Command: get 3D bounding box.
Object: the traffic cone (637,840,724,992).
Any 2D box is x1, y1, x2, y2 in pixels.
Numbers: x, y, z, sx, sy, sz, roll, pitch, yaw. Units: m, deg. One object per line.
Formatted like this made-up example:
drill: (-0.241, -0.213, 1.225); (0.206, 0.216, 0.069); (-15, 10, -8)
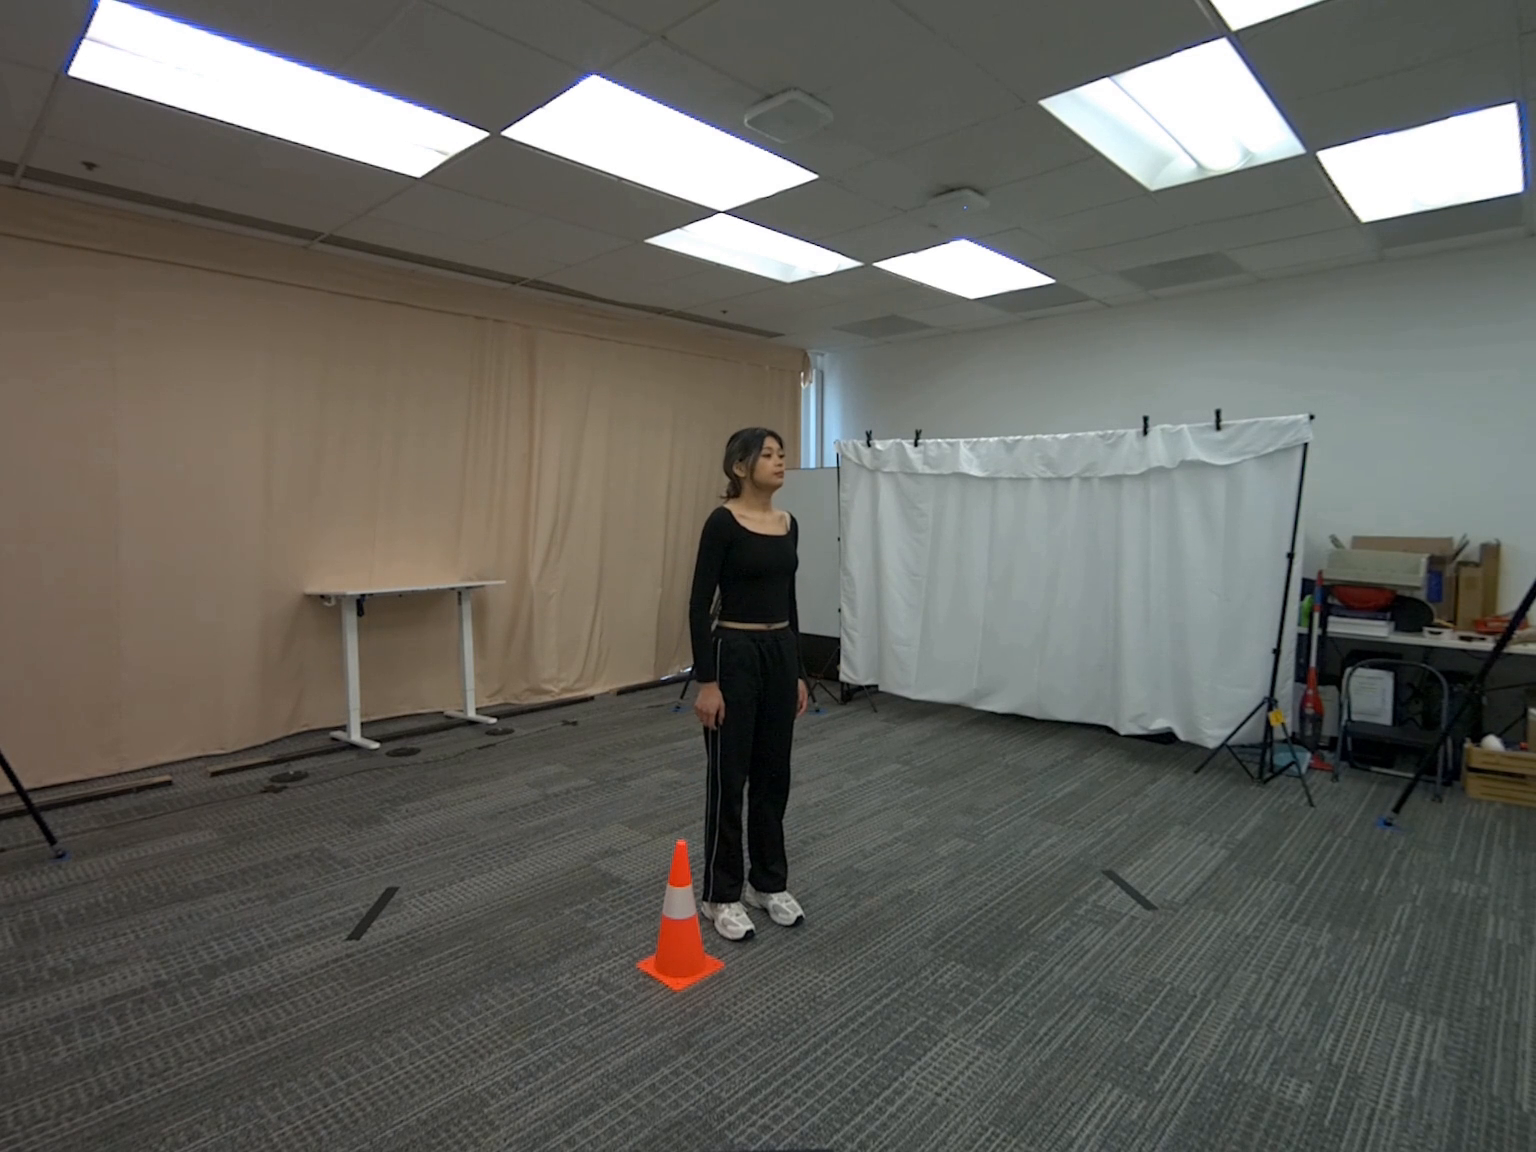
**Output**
traffic cone: (-0.263, 0.995, 2.540); (0.198, 0.383, 0.211); (-4, 4, -34)
